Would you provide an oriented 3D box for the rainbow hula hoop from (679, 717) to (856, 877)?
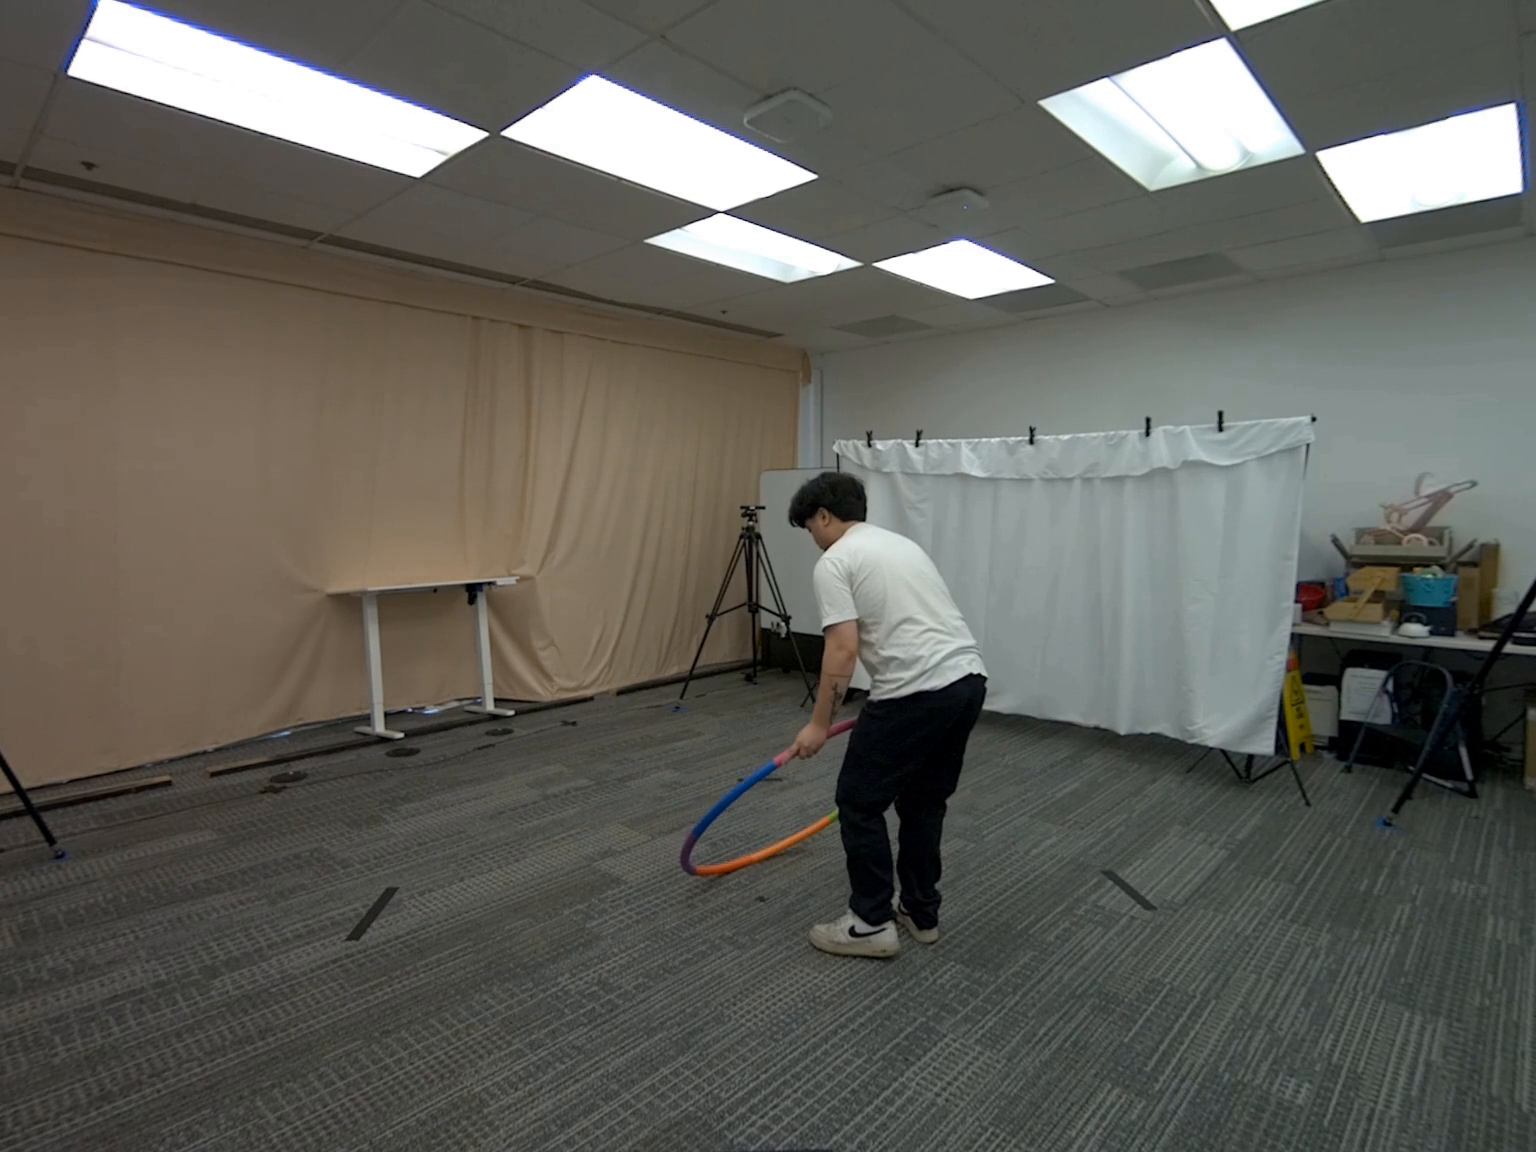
[{"bbox_3d":[0.126,0.784,3.017,0.955,0.986,0.053,-4,49,-41],"label":"rainbow hula hoop"}]
